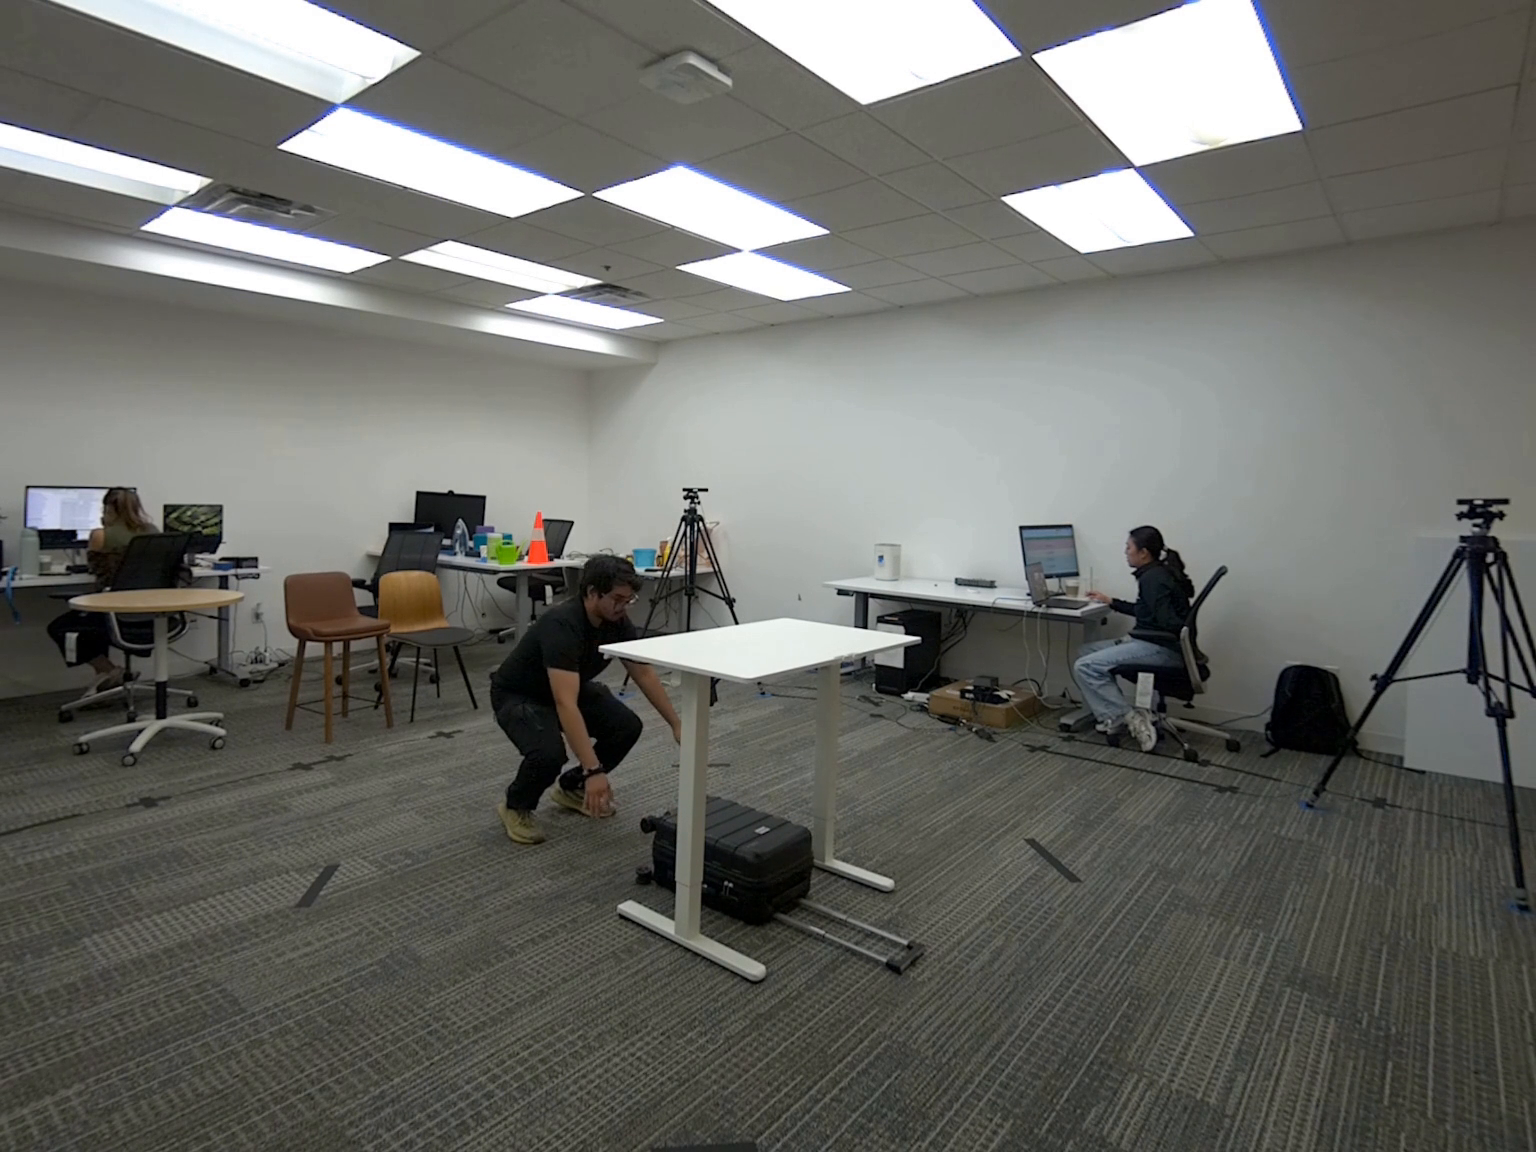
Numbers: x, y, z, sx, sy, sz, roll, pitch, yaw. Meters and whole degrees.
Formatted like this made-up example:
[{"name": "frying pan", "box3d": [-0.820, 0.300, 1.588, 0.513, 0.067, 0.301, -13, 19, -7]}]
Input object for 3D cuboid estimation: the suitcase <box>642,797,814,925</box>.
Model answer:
[{"name": "suitcase", "box3d": [0.026, 0.979, 2.825, 1.011, 0.256, 0.372, 4, 4, 38]}]
